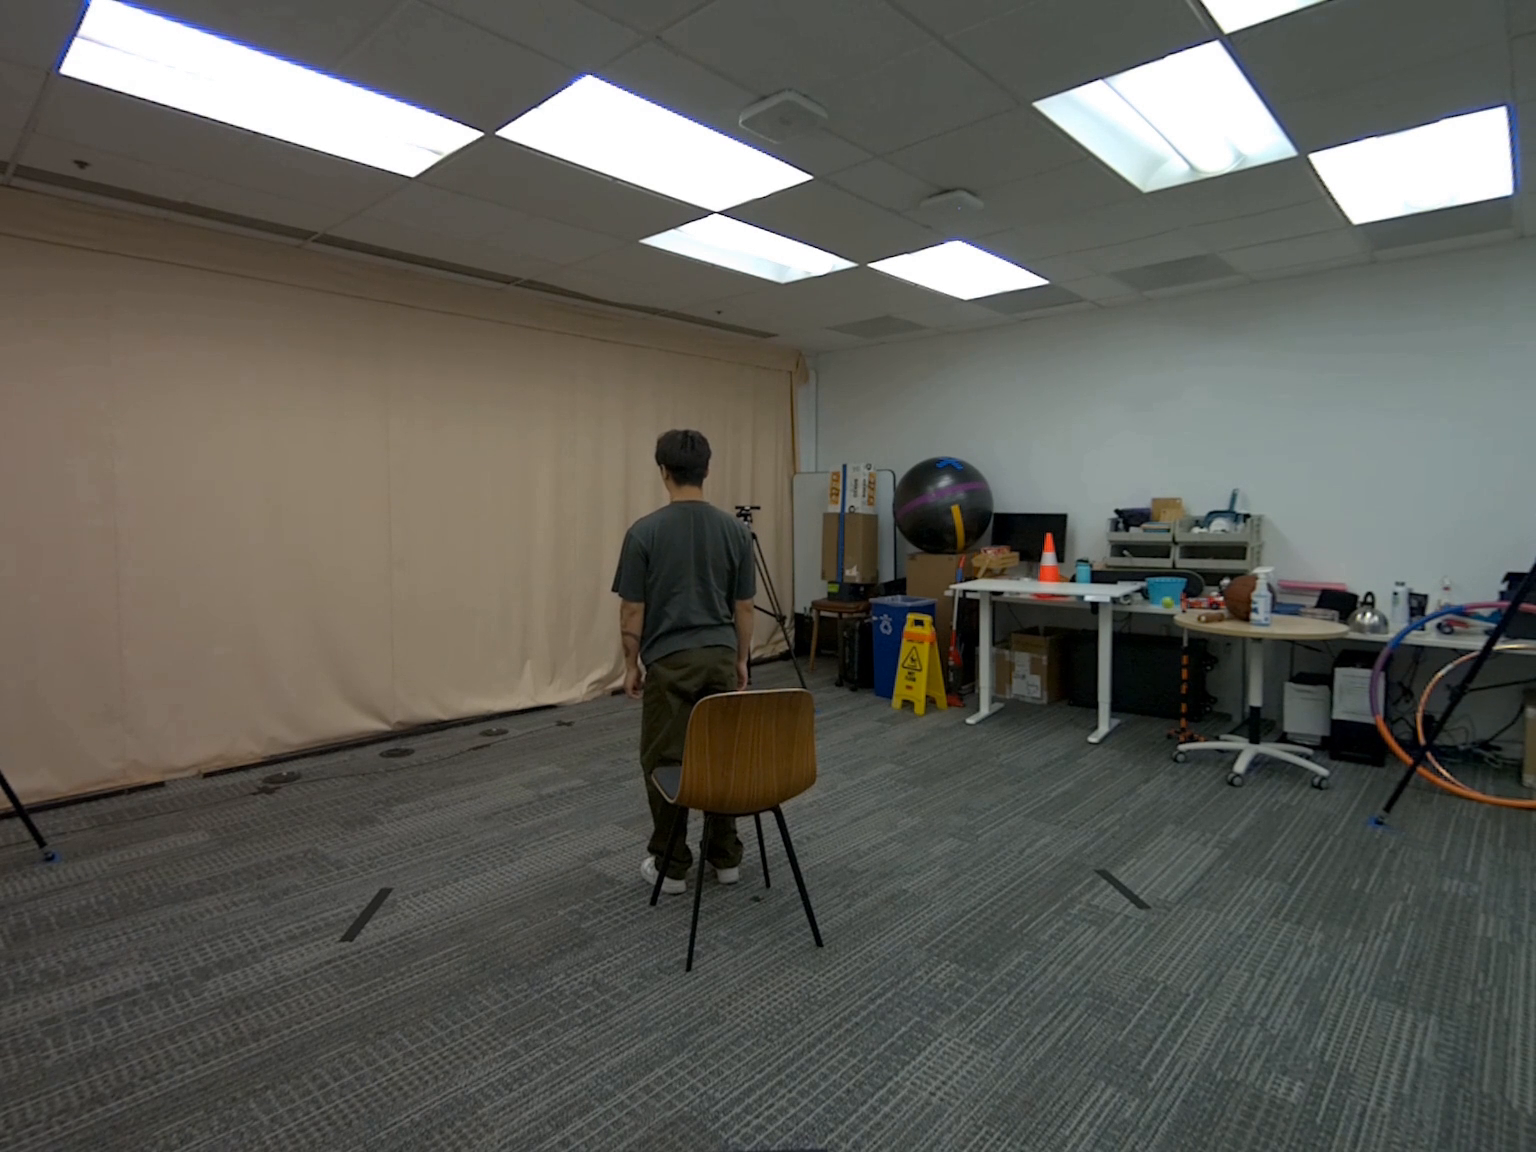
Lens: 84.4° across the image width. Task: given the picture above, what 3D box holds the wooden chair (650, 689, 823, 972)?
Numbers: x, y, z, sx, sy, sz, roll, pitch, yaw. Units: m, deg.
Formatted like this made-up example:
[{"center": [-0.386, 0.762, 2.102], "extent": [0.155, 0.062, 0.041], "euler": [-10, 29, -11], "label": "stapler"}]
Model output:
[{"center": [-0.116, 0.735, 2.773], "extent": [0.469, 0.873, 0.536], "euler": [-2, 7, -20], "label": "wooden chair"}]
